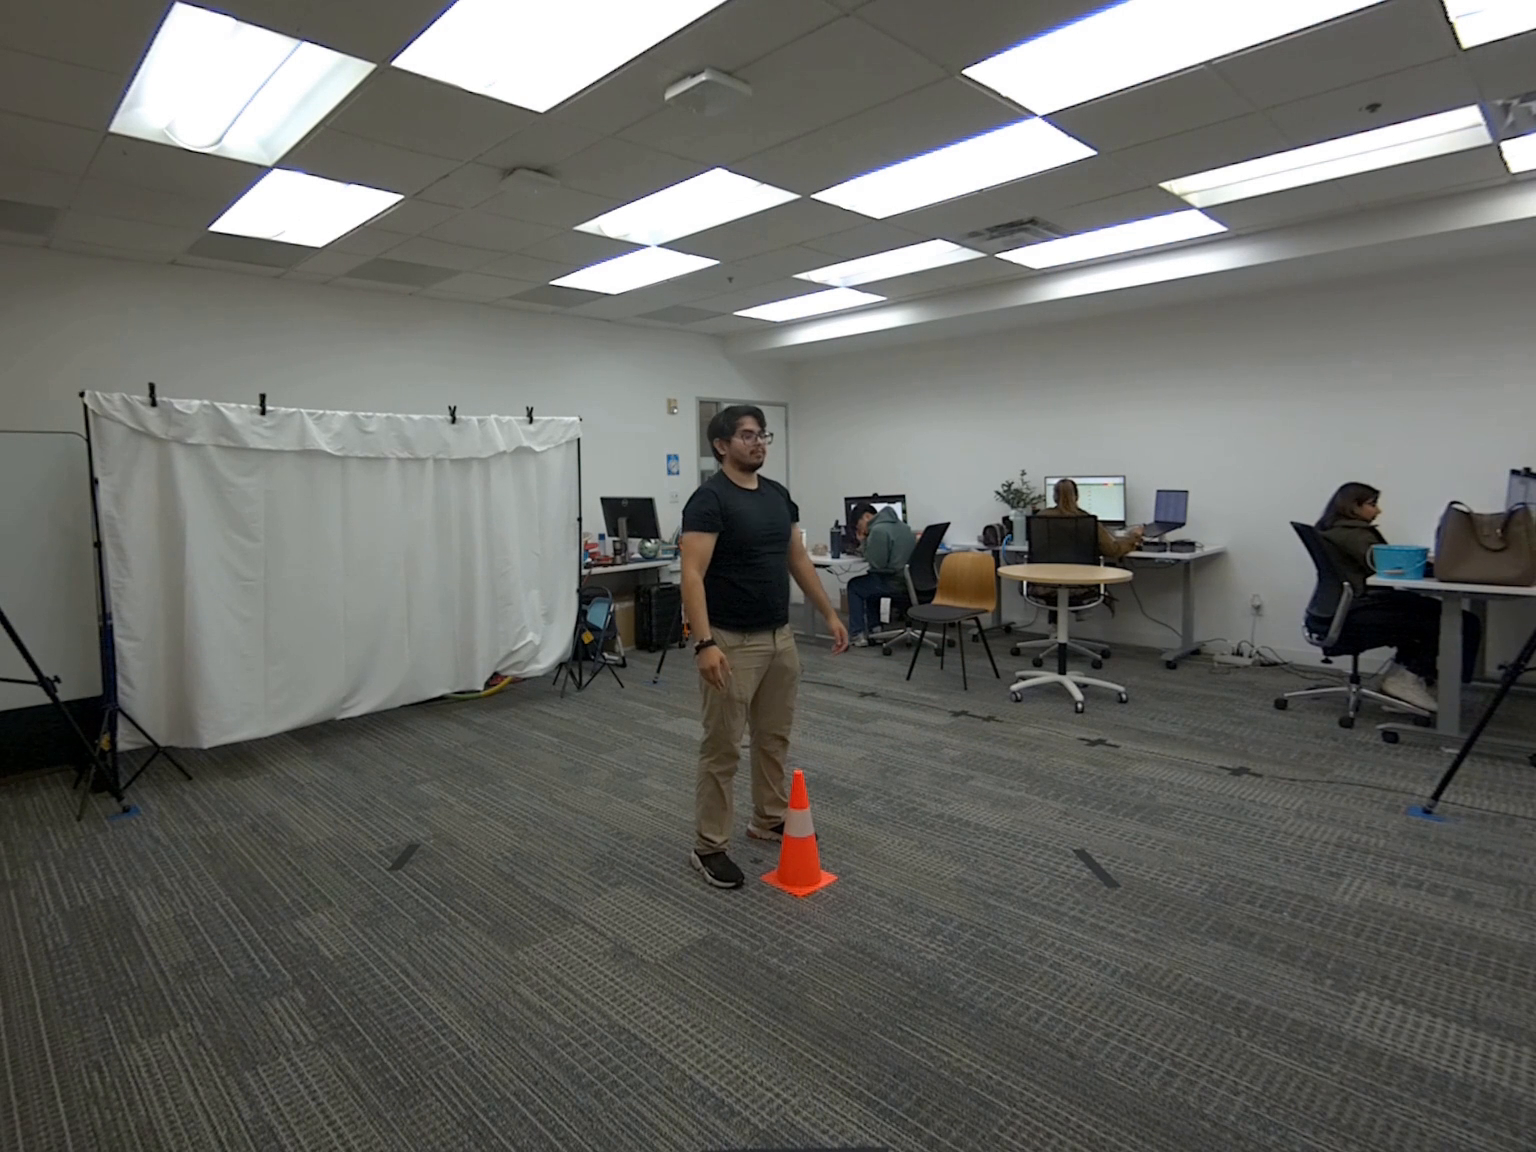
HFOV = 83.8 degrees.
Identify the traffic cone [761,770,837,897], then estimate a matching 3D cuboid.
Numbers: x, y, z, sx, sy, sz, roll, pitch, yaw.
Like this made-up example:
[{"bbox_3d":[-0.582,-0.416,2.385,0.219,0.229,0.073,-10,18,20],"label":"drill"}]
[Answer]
[{"bbox_3d":[0.112,0.866,2.957,0.199,0.382,0.209,-3,5,-39],"label":"traffic cone"}]
